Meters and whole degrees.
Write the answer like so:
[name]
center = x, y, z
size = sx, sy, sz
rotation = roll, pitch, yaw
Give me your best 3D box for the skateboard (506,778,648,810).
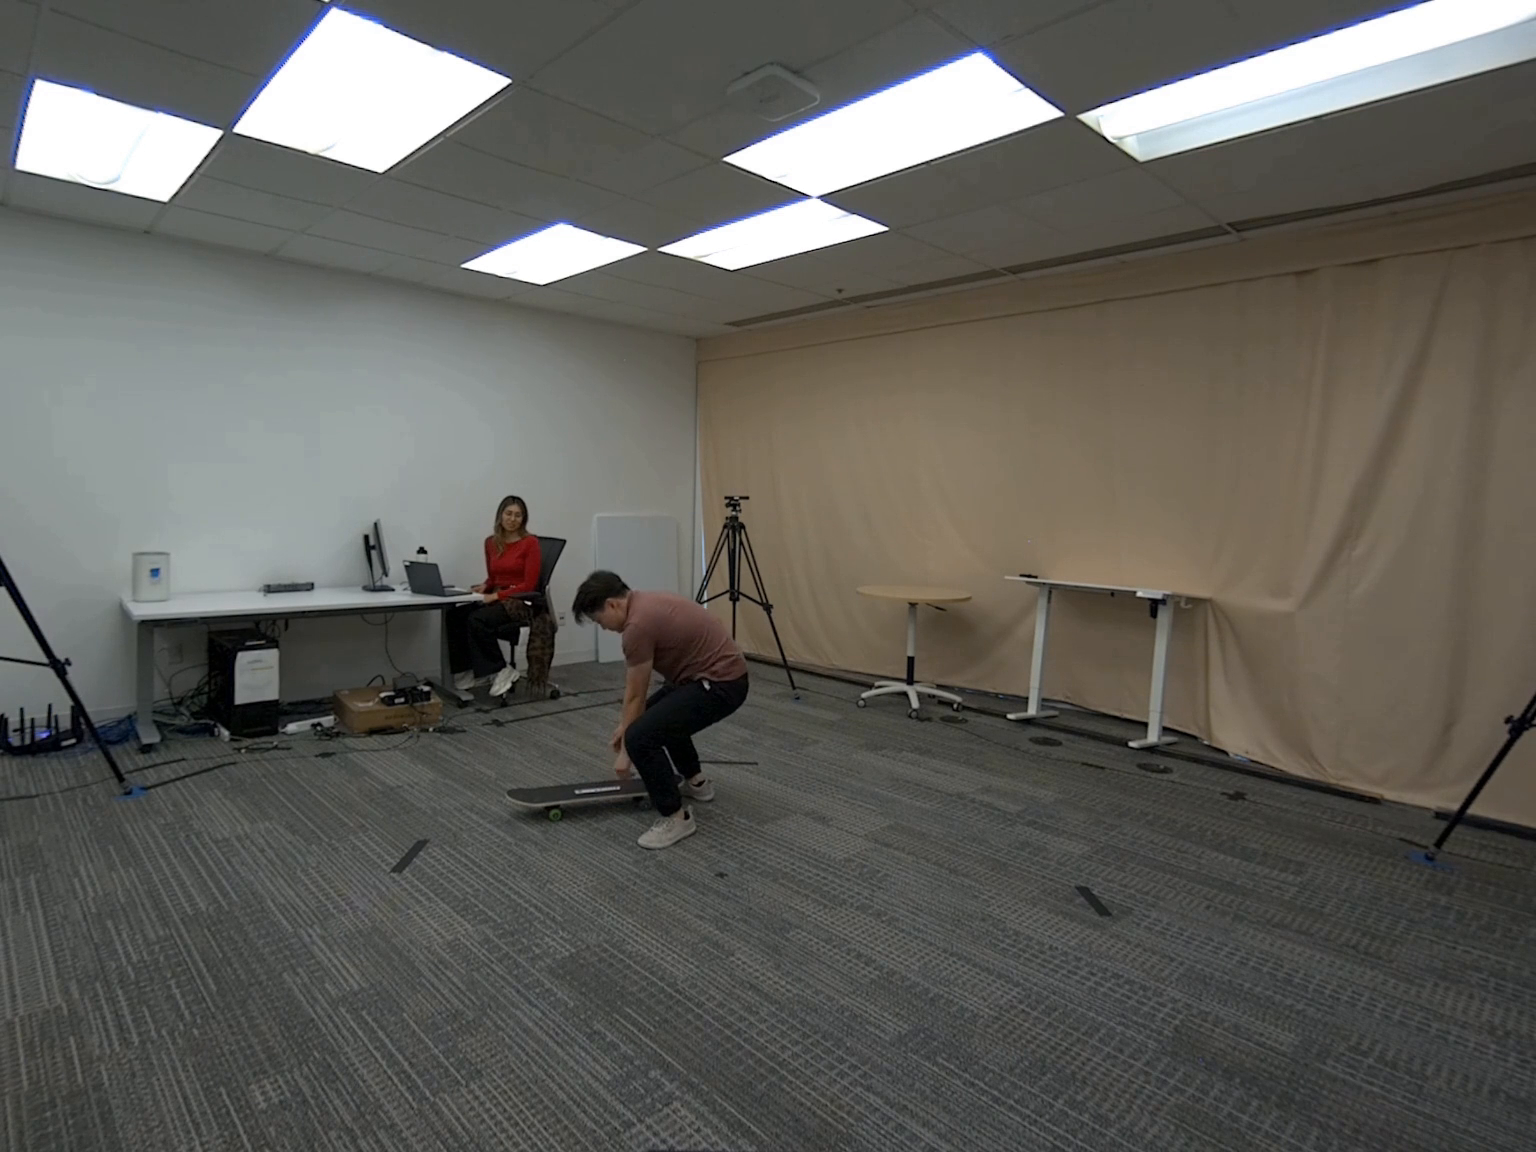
[skateboard]
center = -0.757, 0.975, 3.723
size = 0.773, 0.110, 0.197
rotation = -1, 7, -21
